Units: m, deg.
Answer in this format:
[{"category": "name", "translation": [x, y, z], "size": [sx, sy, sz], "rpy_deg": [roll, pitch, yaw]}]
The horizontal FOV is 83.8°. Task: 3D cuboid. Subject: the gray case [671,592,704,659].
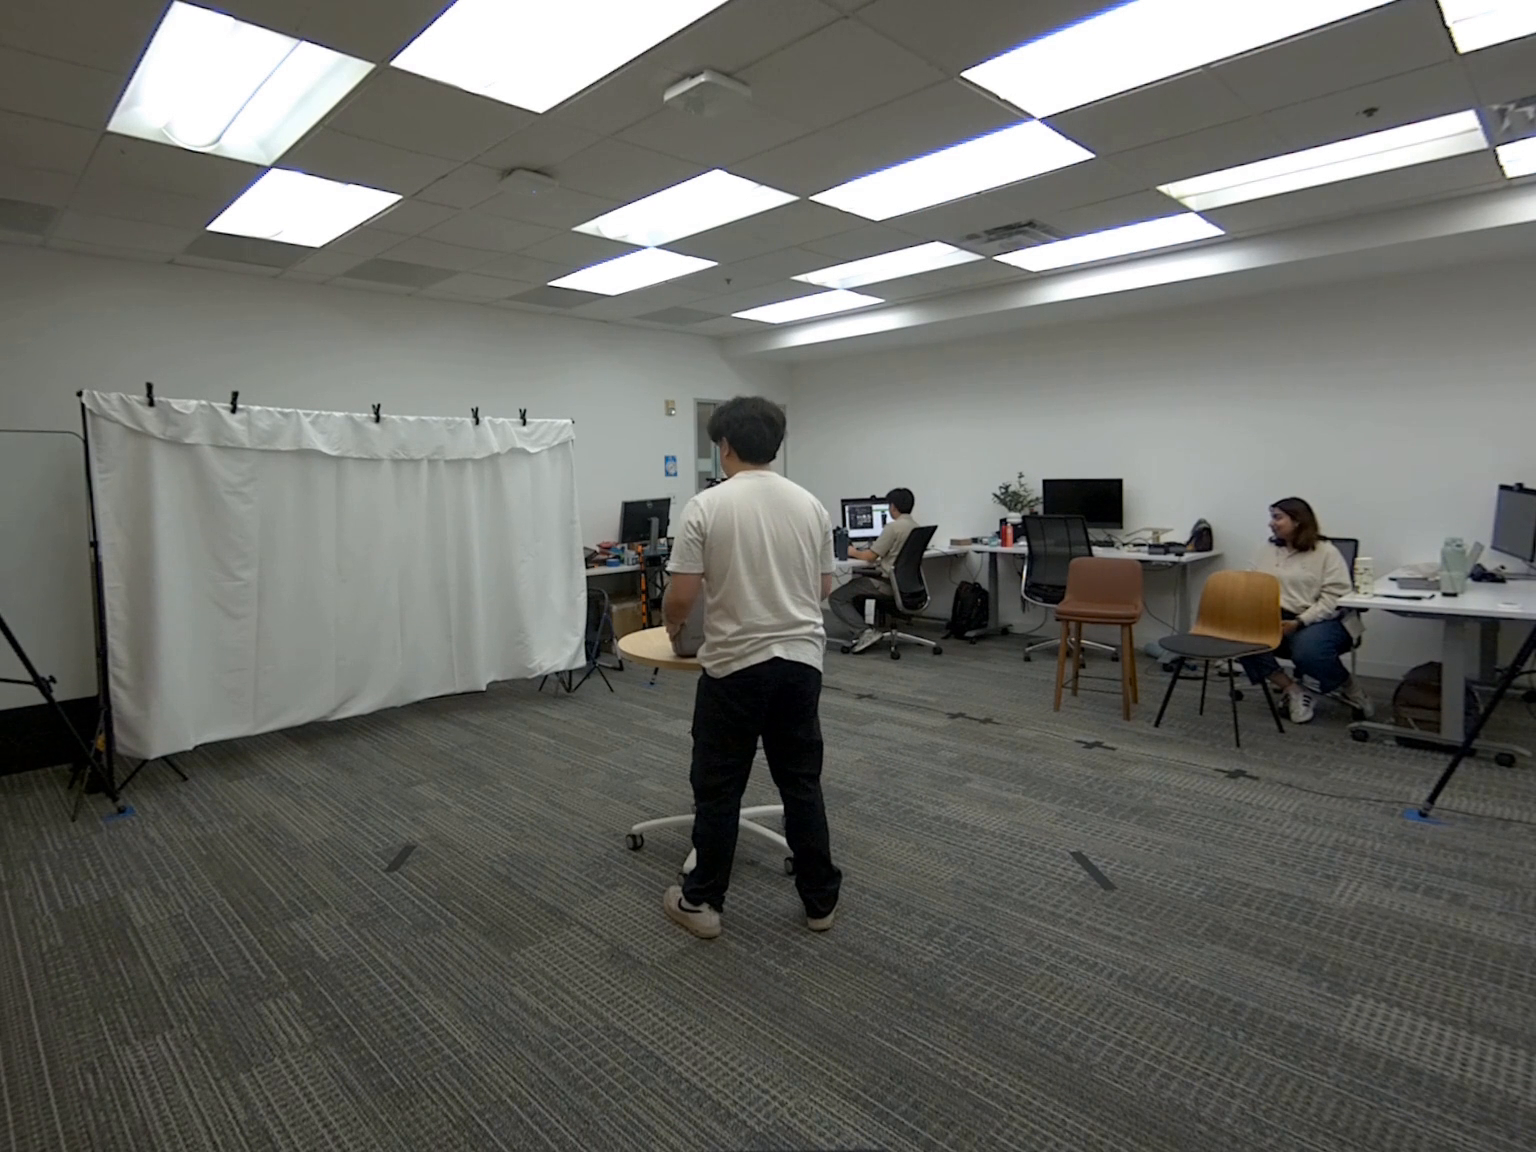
[{"category": "gray case", "translation": [-0.202, 0.132, 2.946], "size": [0.252, 0.263, 0.105], "rpy_deg": [-2, -10, -21]}]
